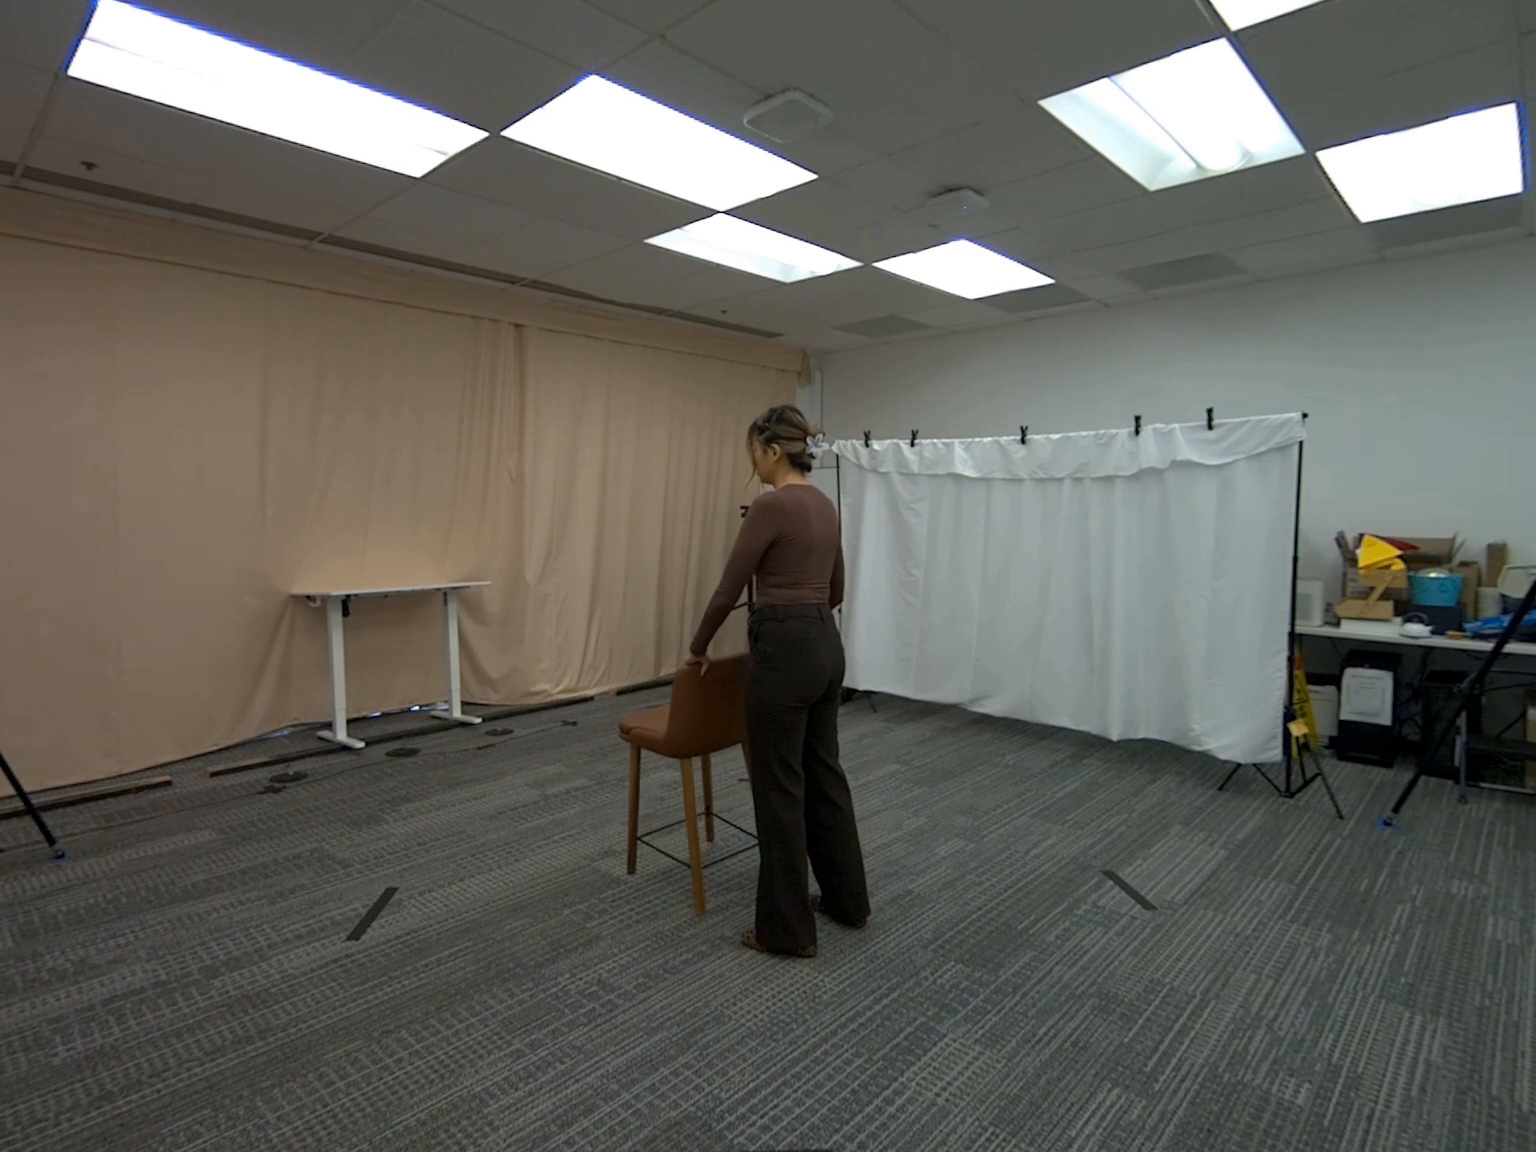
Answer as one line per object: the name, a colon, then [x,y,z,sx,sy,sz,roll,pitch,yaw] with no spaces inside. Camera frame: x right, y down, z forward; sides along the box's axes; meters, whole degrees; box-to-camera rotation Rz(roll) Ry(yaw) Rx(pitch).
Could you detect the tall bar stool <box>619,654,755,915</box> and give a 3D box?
tall bar stool: [-0.259,0.688,3.097,0.444,0.885,0.483,-8,10,-39]
